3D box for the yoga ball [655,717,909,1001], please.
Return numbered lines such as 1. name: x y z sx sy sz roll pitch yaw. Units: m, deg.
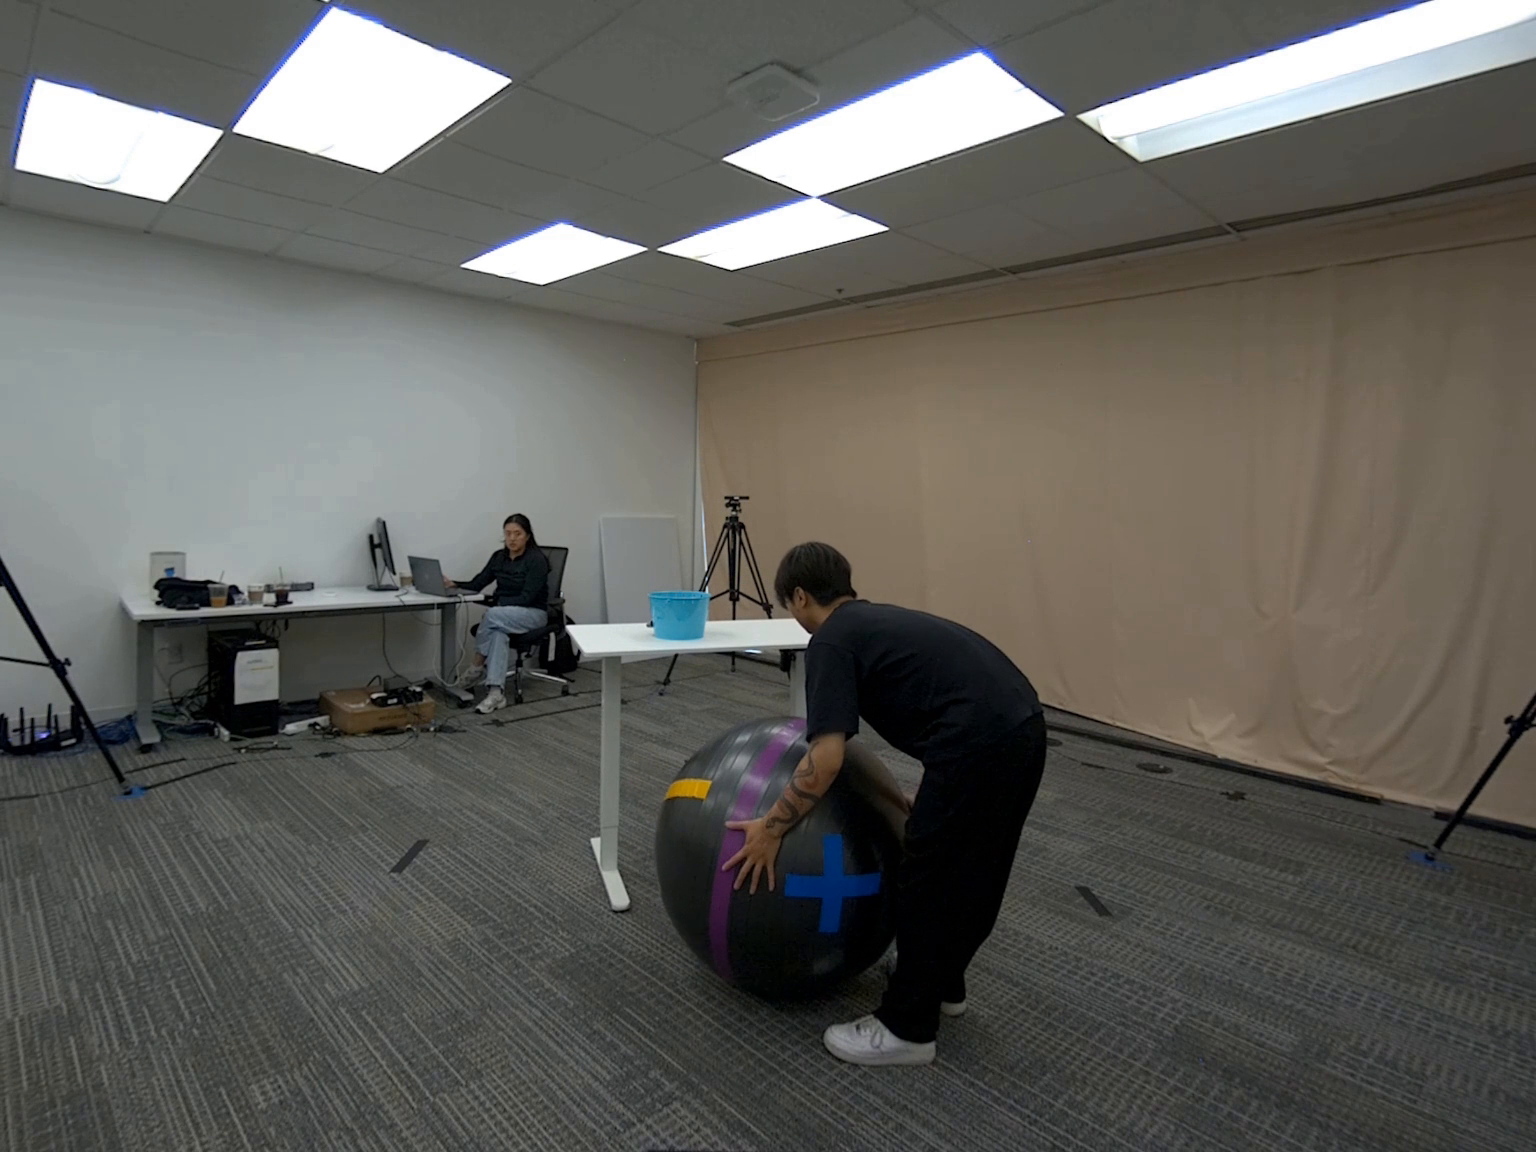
1. yoga ball: 0.043 0.801 2.450 0.757 0.756 0.761 1 4 -1
